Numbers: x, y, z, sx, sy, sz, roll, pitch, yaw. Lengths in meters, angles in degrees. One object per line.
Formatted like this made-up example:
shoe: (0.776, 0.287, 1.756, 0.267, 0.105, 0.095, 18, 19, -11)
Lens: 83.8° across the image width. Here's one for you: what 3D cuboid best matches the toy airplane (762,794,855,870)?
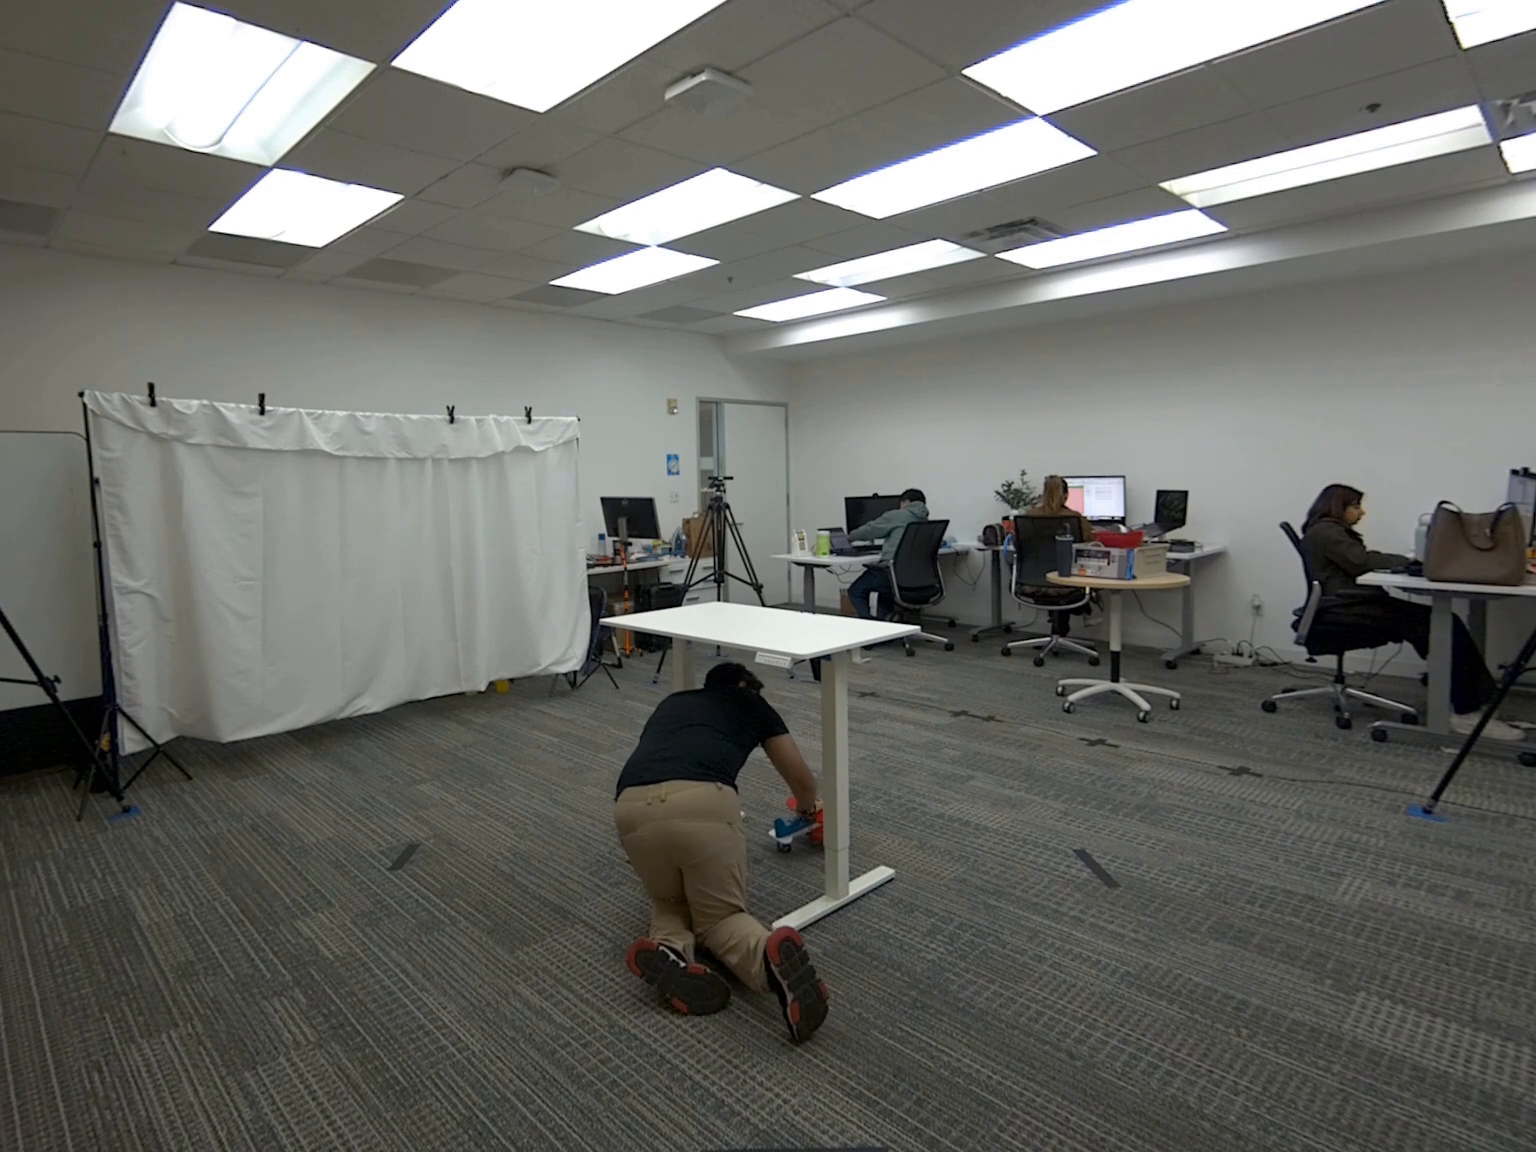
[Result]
toy airplane: (0.152, 0.948, 3.217, 0.258, 0.156, 0.253, 2, 5, 32)
